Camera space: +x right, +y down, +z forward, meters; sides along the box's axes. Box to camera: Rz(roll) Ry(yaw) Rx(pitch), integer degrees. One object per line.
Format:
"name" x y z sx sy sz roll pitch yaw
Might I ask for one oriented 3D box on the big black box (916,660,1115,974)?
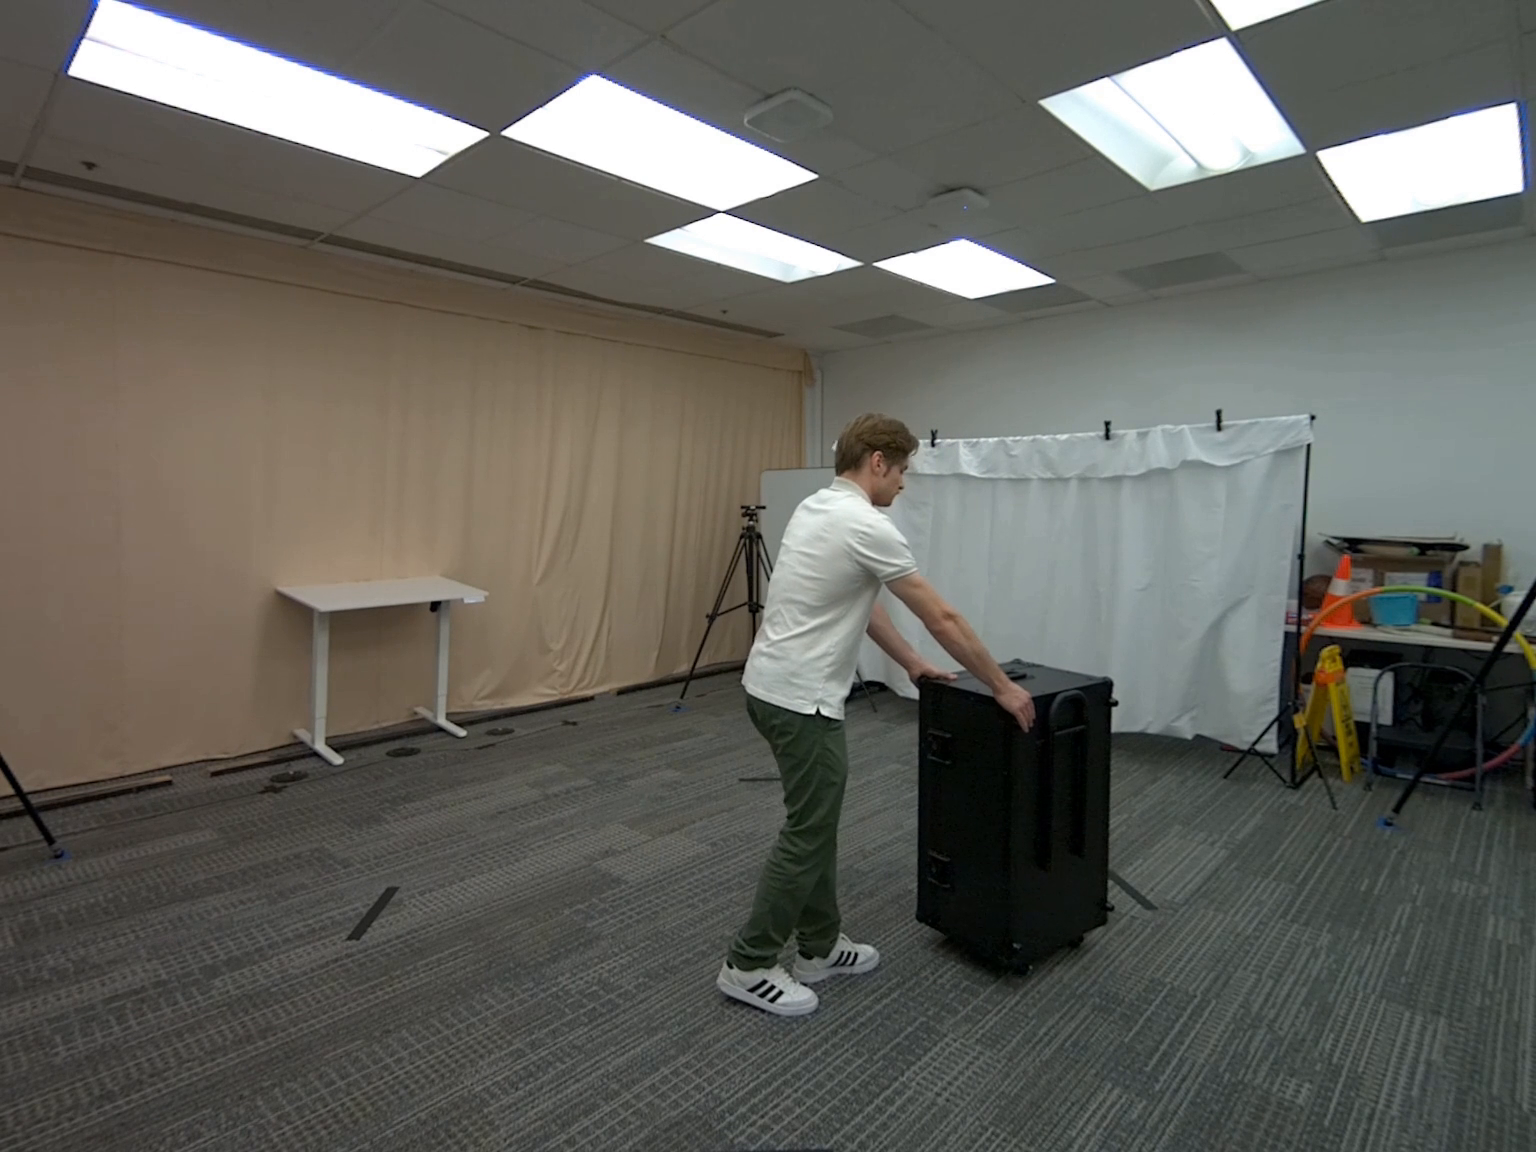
"big black box" 0.784 0.745 2.651 0.508 0.866 0.397 -4 5 -35
